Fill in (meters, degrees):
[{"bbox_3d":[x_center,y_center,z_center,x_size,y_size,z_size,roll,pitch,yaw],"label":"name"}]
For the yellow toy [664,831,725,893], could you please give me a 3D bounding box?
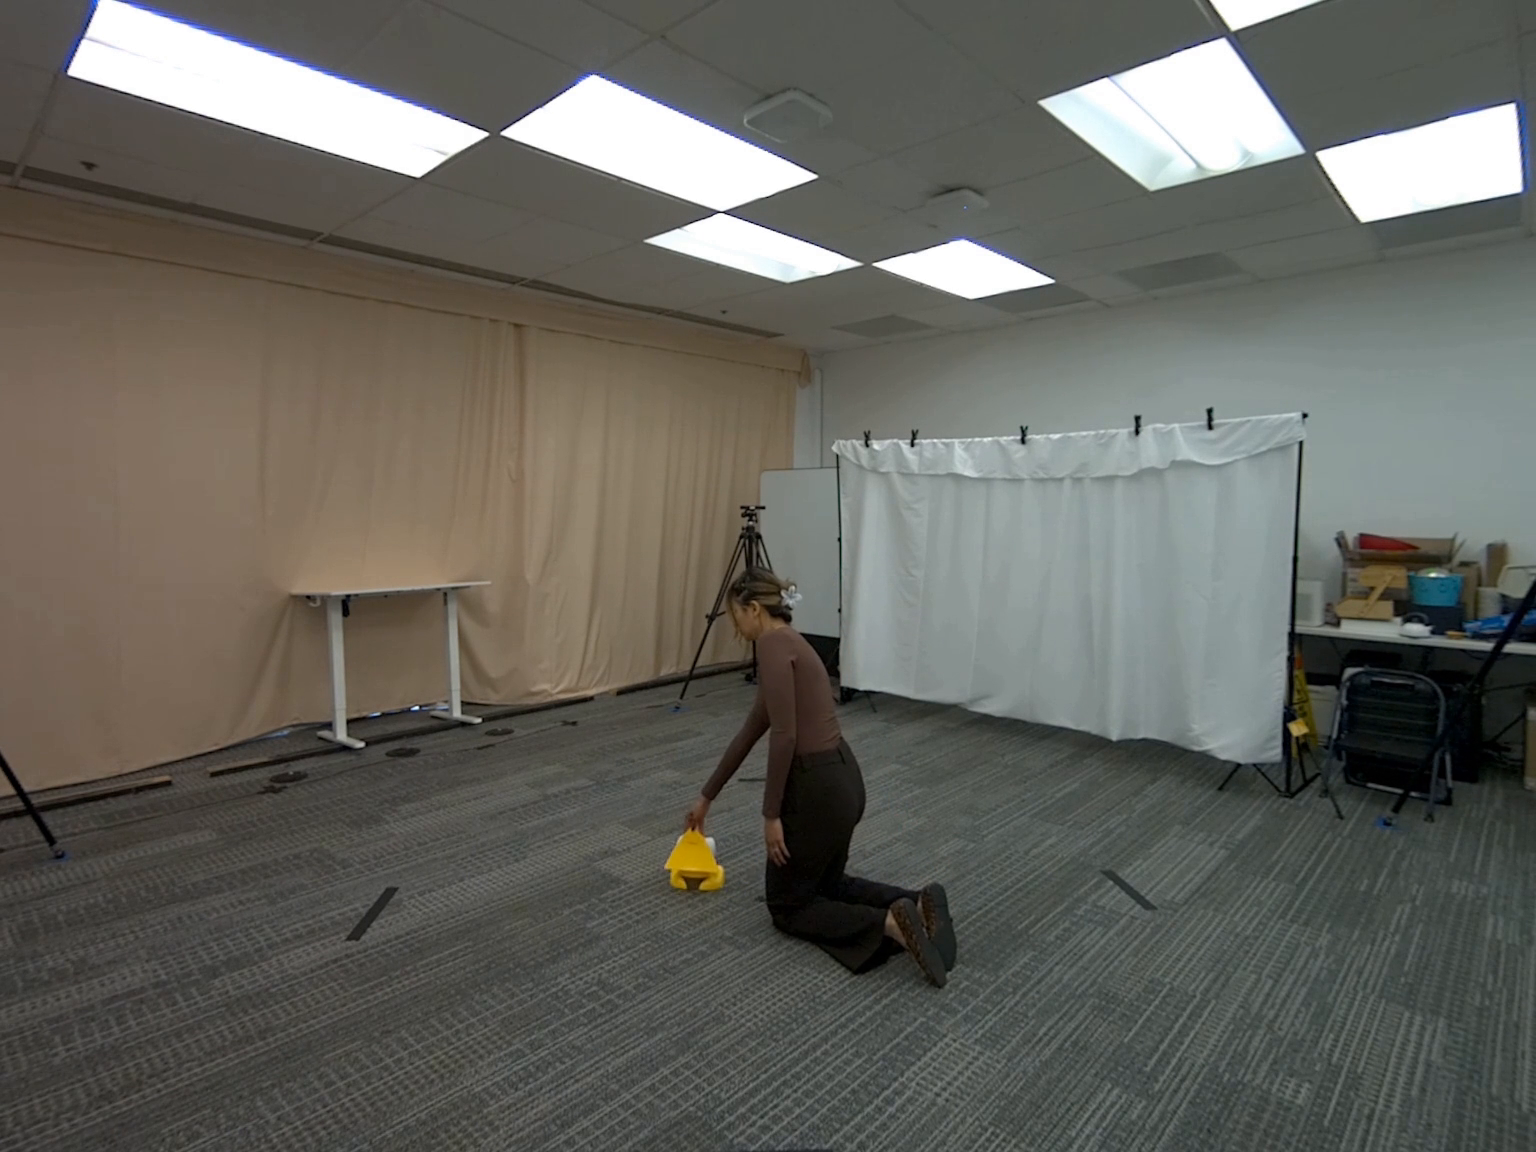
[{"bbox_3d":[-0.258,1.021,3.123,0.207,0.230,0.191,0,4,11],"label":"yellow toy"}]
